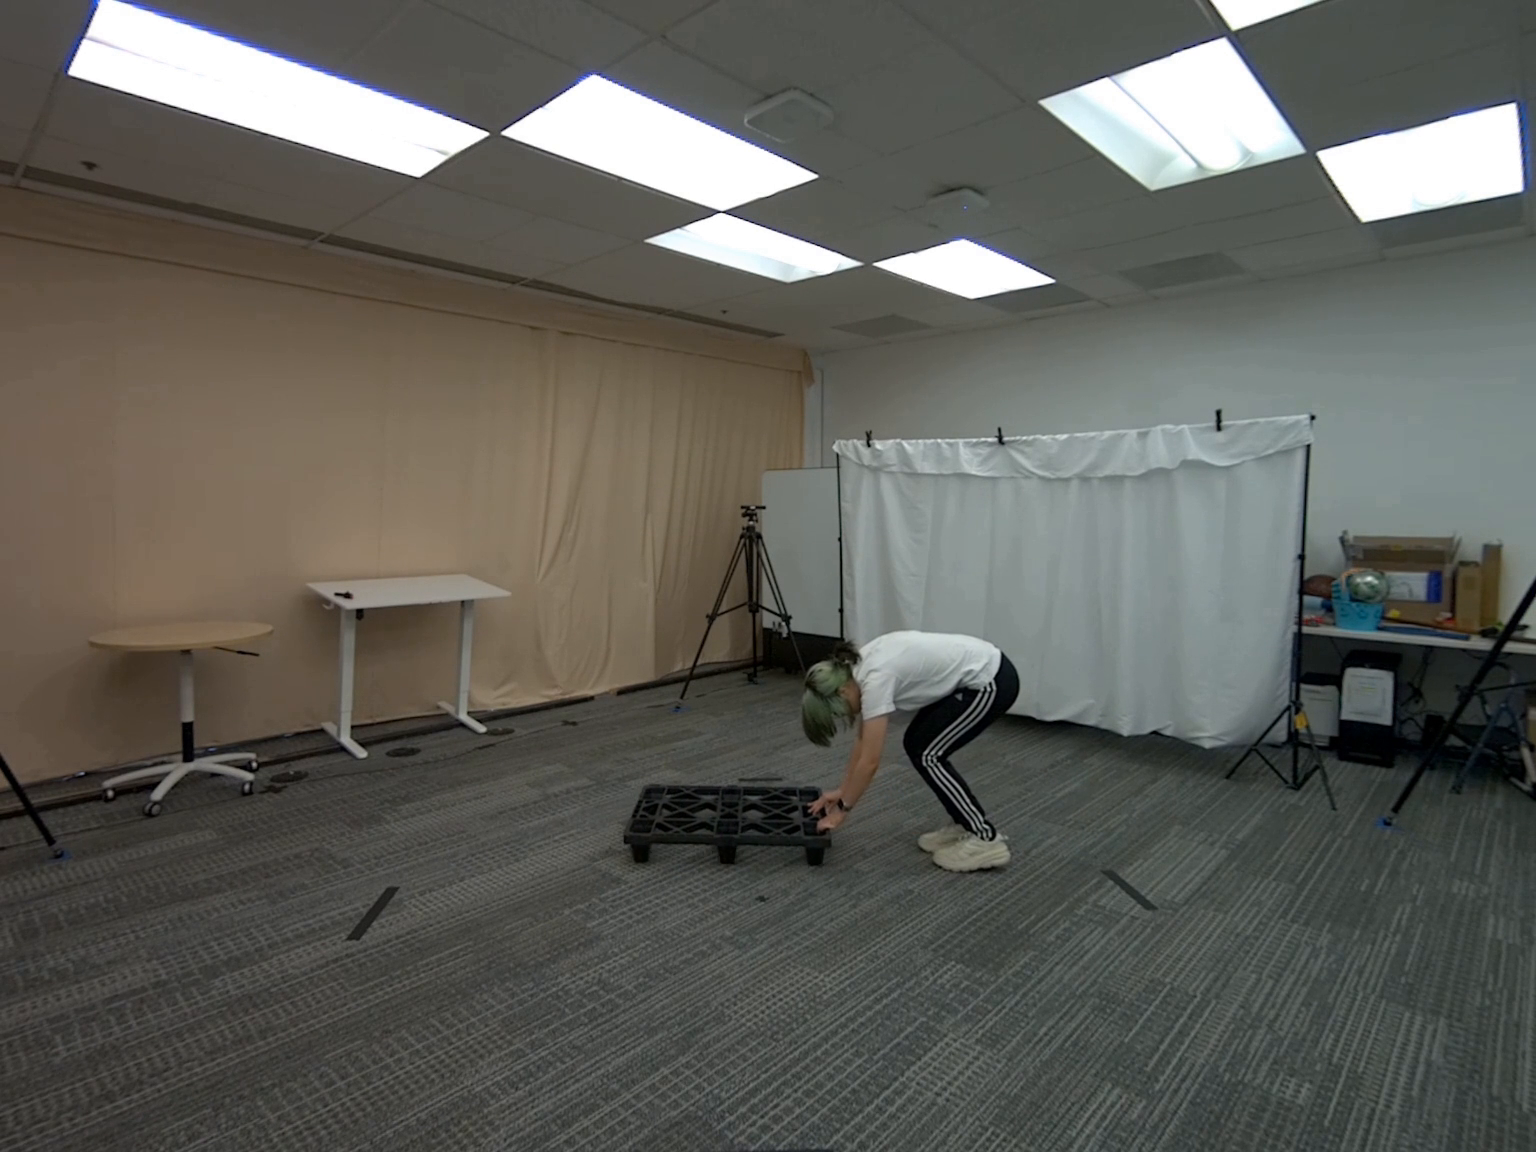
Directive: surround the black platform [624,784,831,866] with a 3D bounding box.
[{"bbox_3d":[-0.162,1.033,3.501,0.808,0.143,0.604,0,4,2],"label":"black platform"}]
